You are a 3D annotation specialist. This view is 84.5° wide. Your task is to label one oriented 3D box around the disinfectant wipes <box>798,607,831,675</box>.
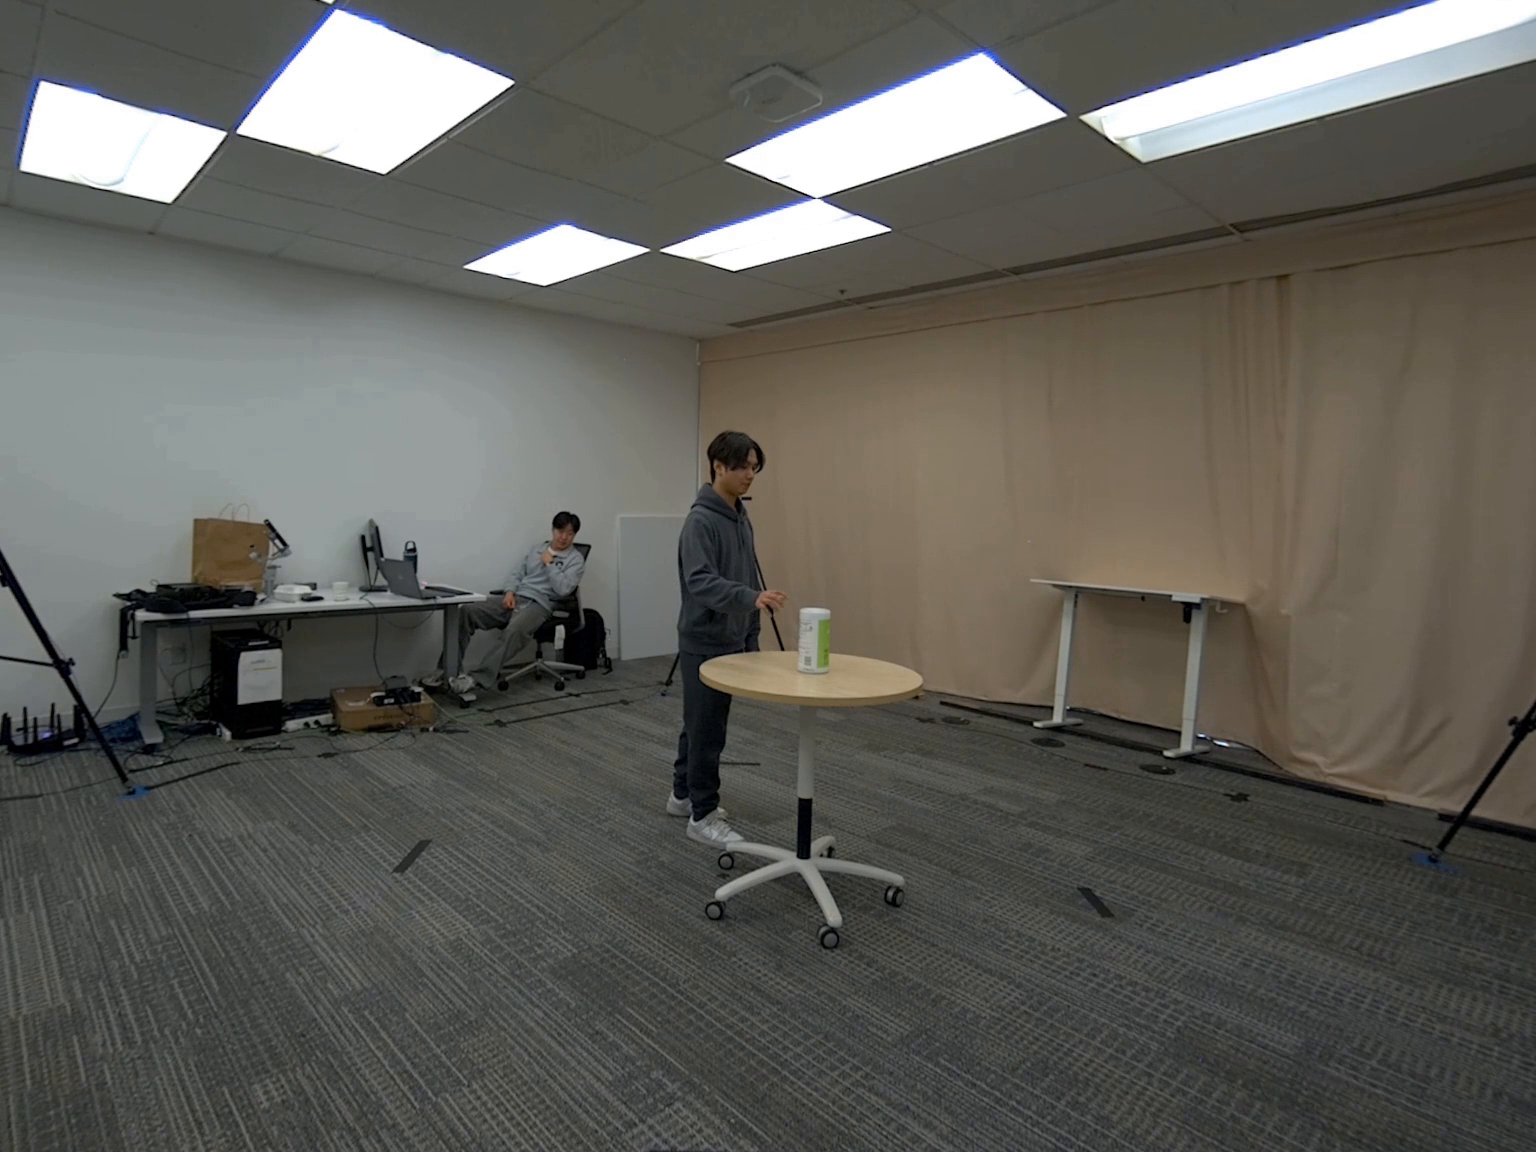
[{"bbox_3d":[0.154,0.224,2.921,0.118,0.217,0.118,1,3,-1],"label":"disinfectant wipes"}]
